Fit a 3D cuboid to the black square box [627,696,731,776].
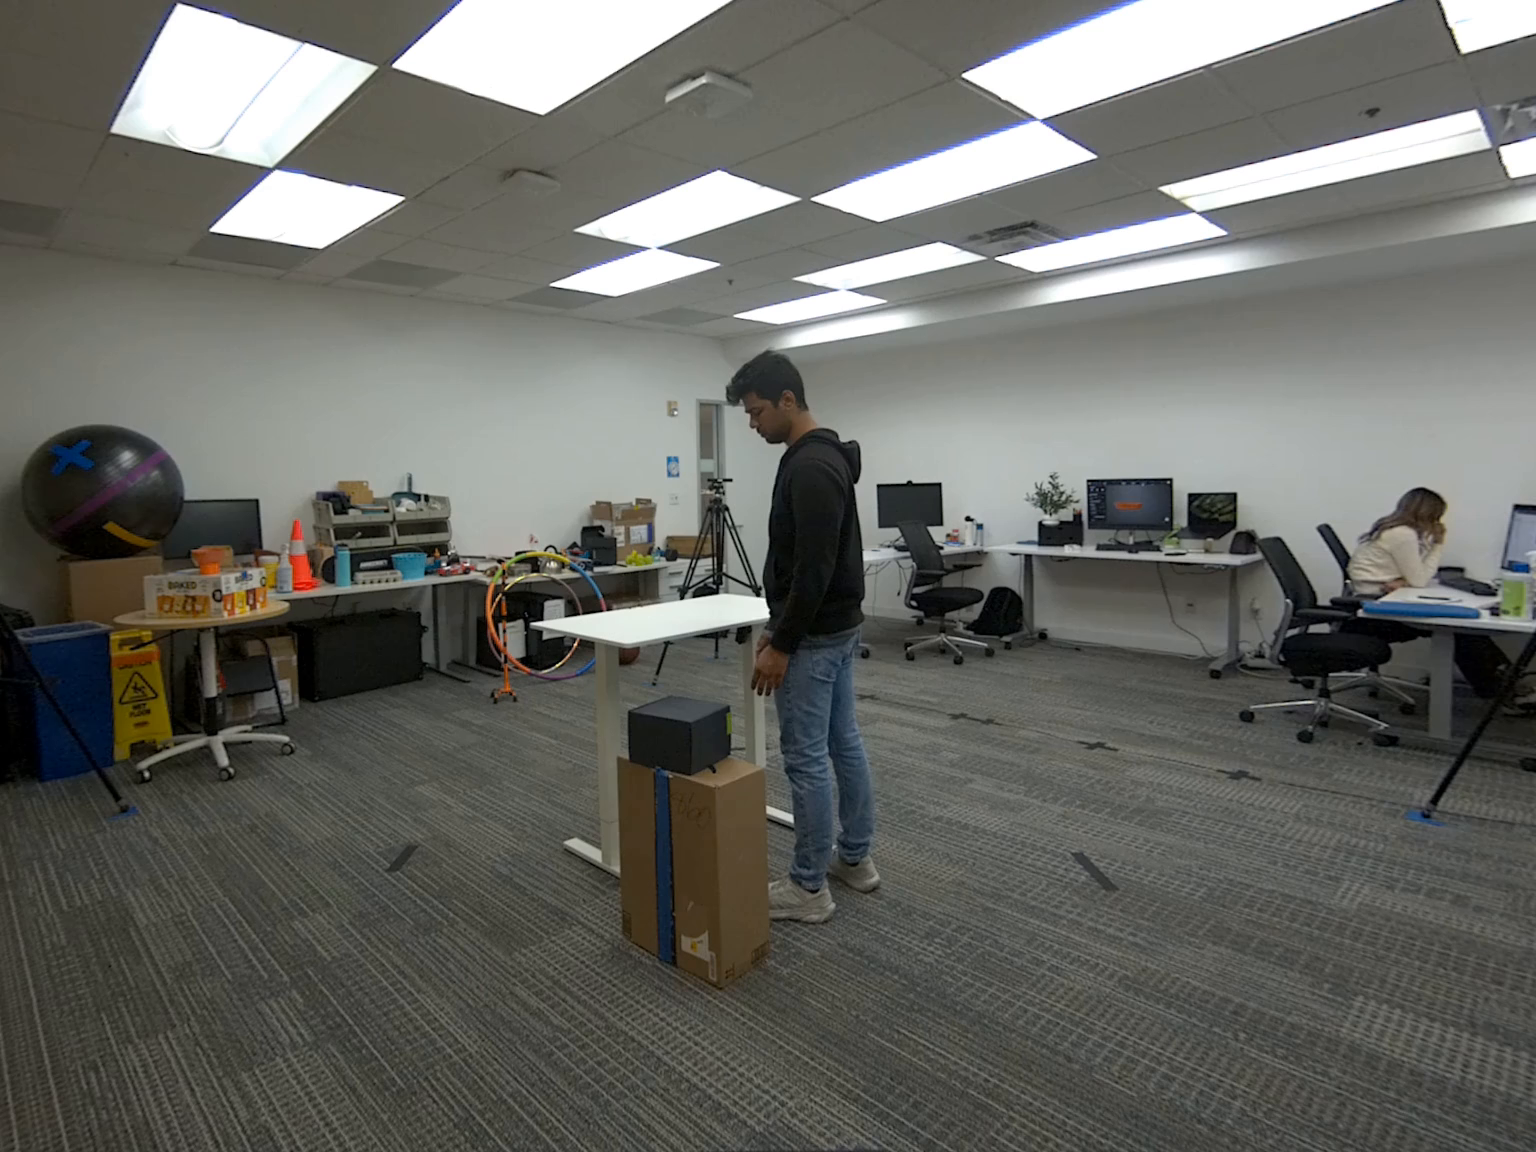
[{"bbox_3d":[-0.260,0.468,2.545,0.234,0.155,0.212,3,6,31],"label":"black square box"}]
